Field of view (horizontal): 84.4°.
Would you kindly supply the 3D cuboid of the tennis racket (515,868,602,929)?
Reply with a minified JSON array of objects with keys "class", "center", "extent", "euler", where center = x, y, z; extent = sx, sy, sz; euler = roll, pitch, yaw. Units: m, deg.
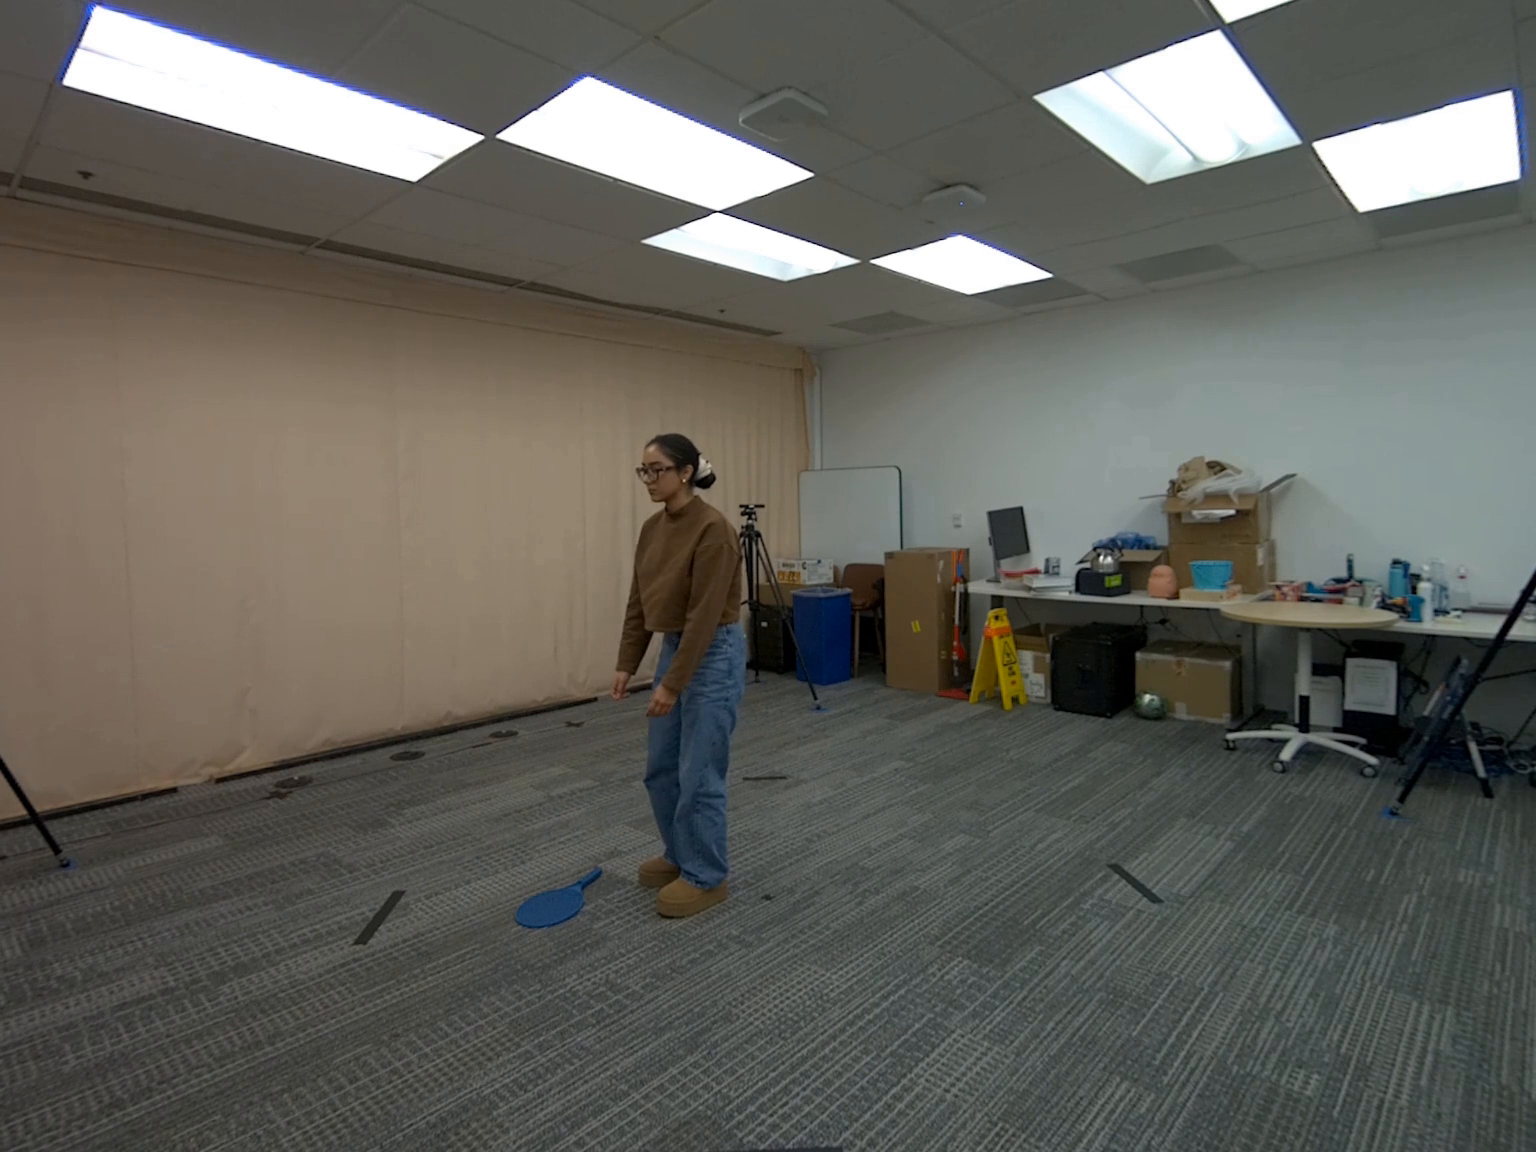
[{"class":"tennis racket","center":[-0.725,1.145,3.003],"extent":[0.219,0.031,0.424],"euler":[0,6,22]}]
